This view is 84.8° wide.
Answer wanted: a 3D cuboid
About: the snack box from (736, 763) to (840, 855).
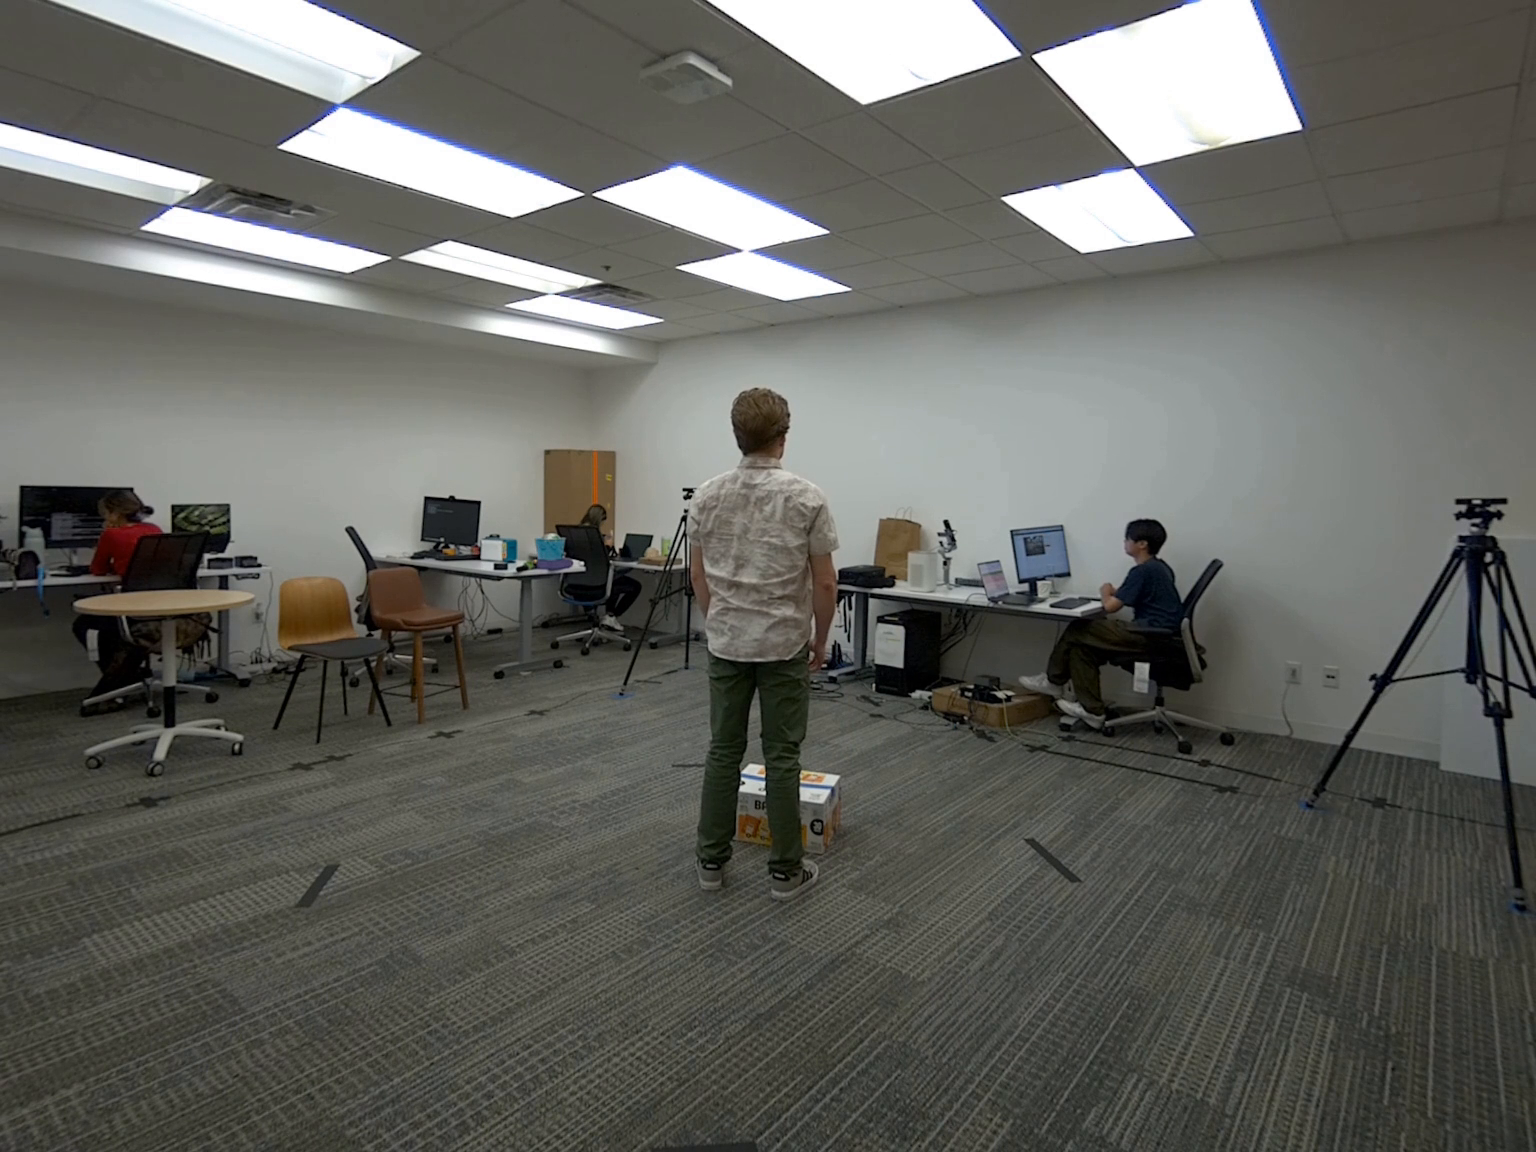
[{"bbox_3d":[0.057,0.939,3.475,0.413,0.205,0.335,3,5,17],"label":"snack box"}]
